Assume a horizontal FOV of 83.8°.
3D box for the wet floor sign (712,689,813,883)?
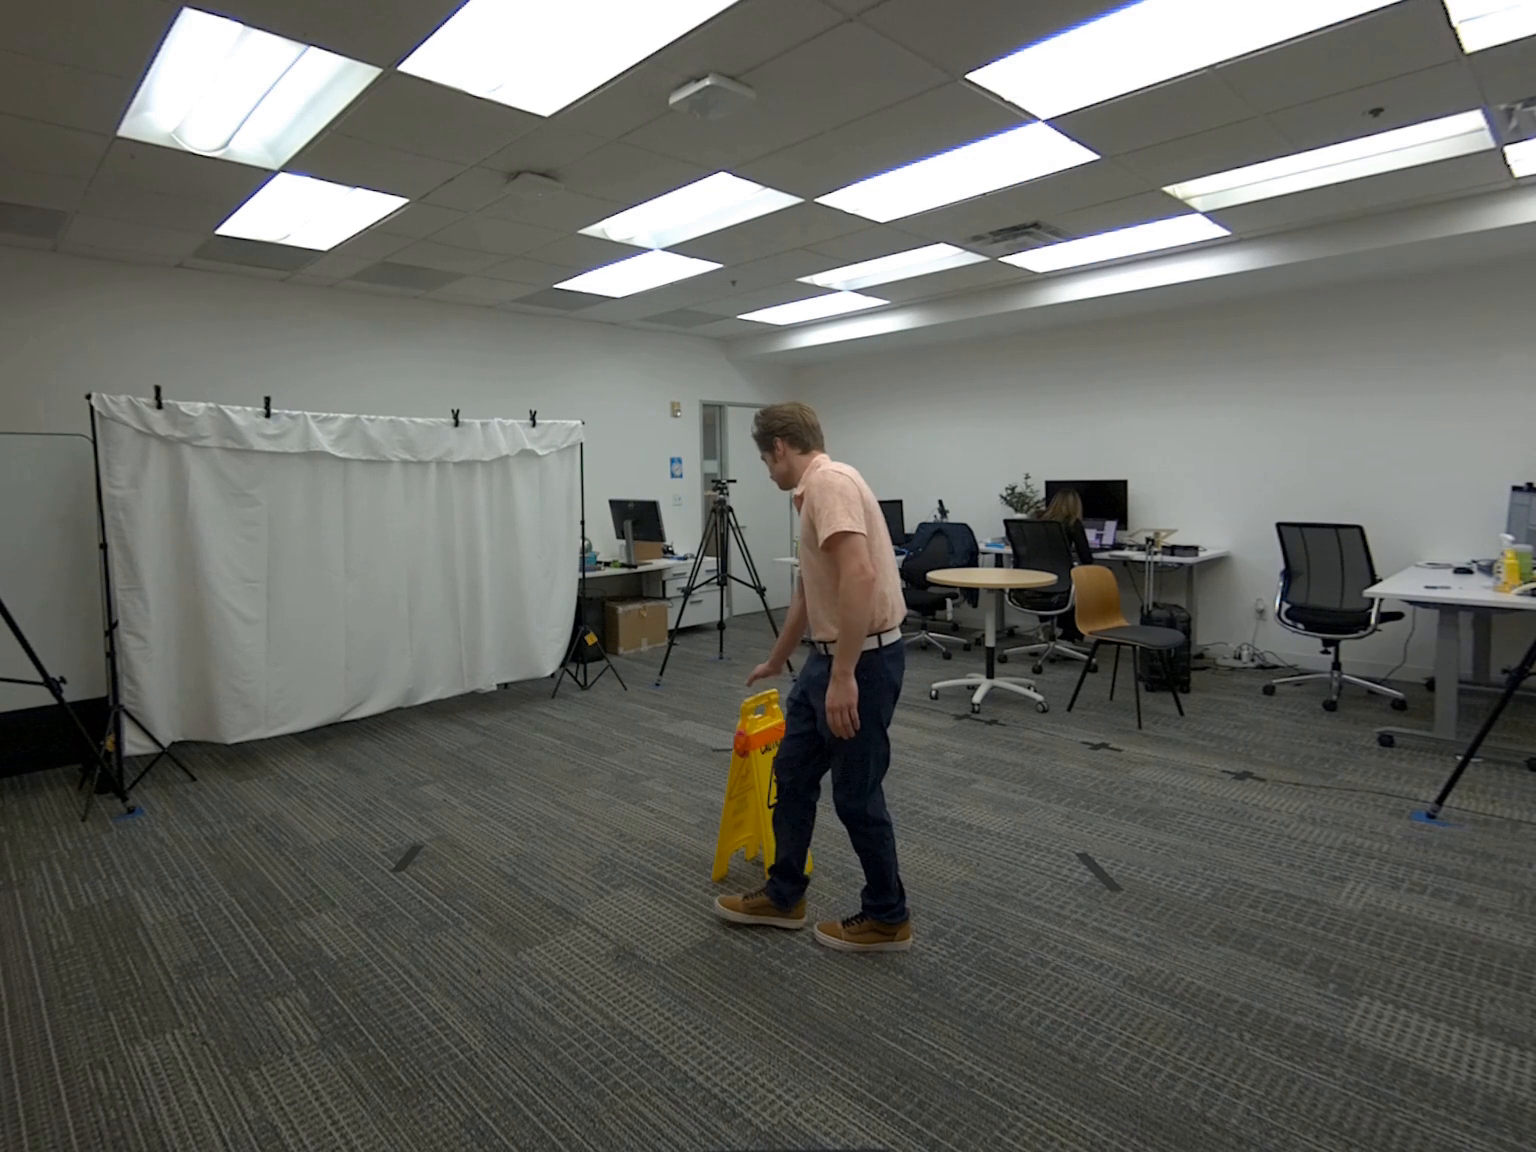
[{"bbox_3d":[-0.021,0.734,2.995,0.298,0.644,0.275,1,3,34],"label":"wet floor sign"}]
